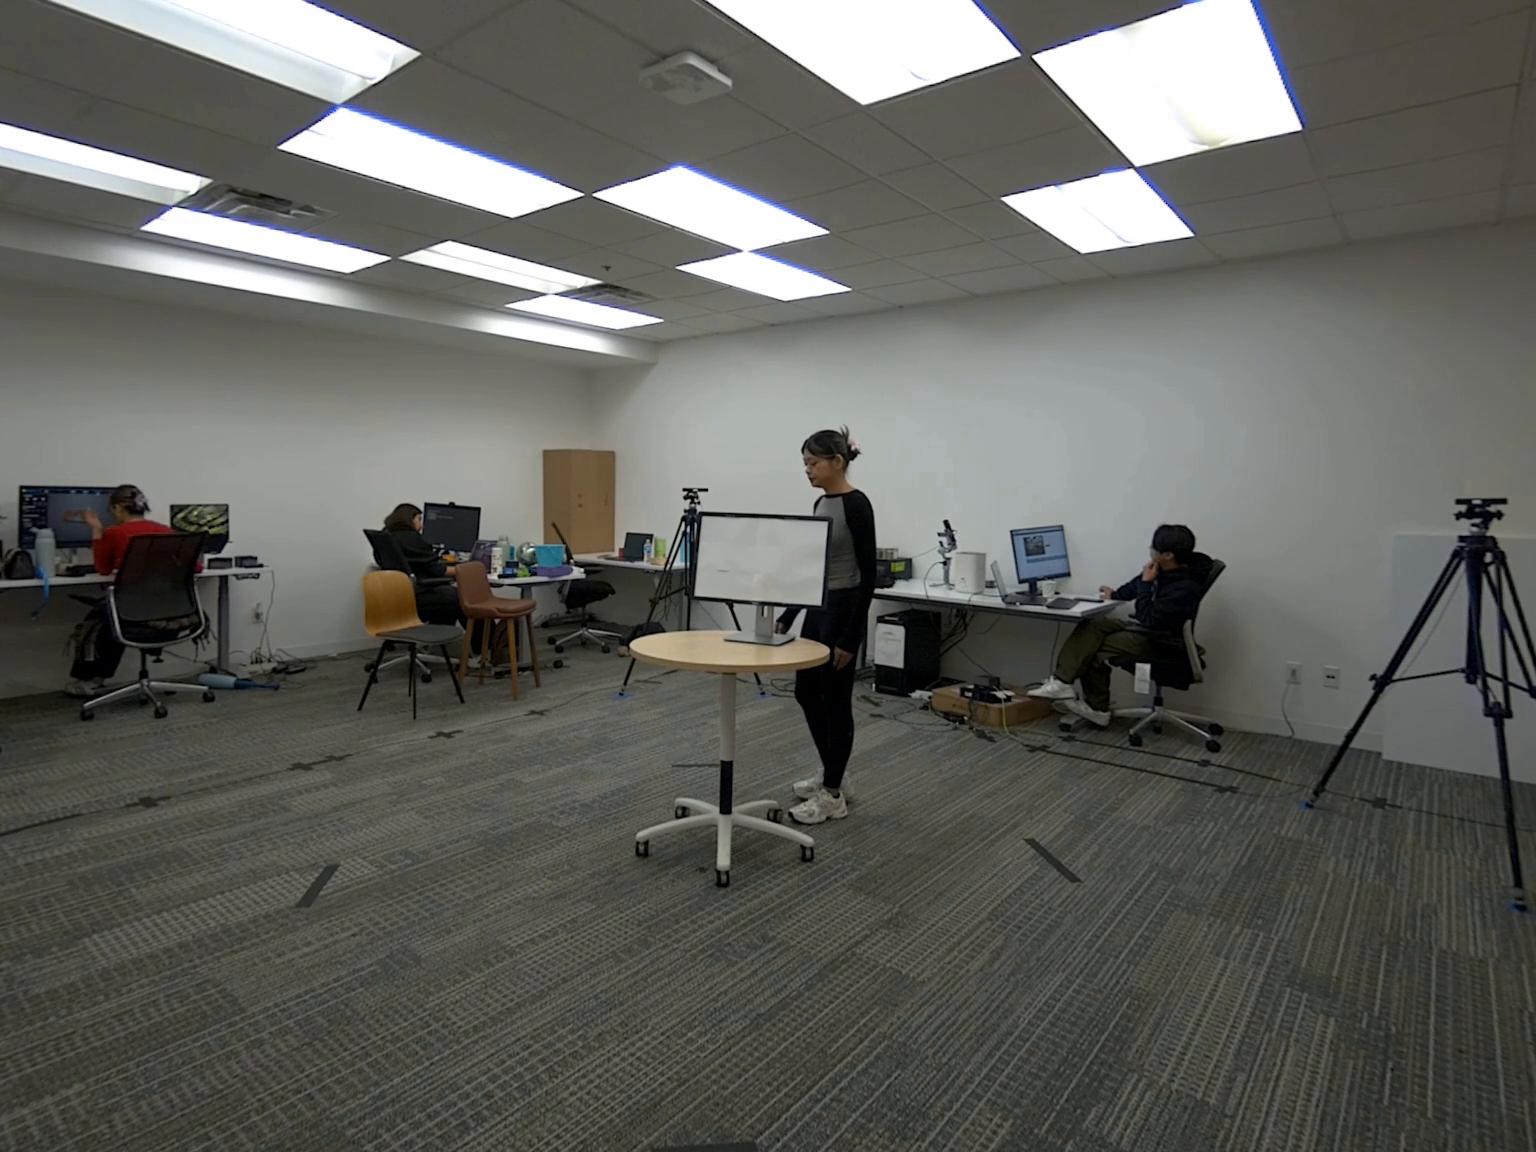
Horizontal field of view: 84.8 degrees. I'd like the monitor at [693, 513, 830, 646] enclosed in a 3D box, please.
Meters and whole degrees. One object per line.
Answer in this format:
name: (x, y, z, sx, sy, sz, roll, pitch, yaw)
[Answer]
monitor: (-0.029, 0.011, 3.413, 0.550, 0.520, 0.184, 4, 5, 19)
